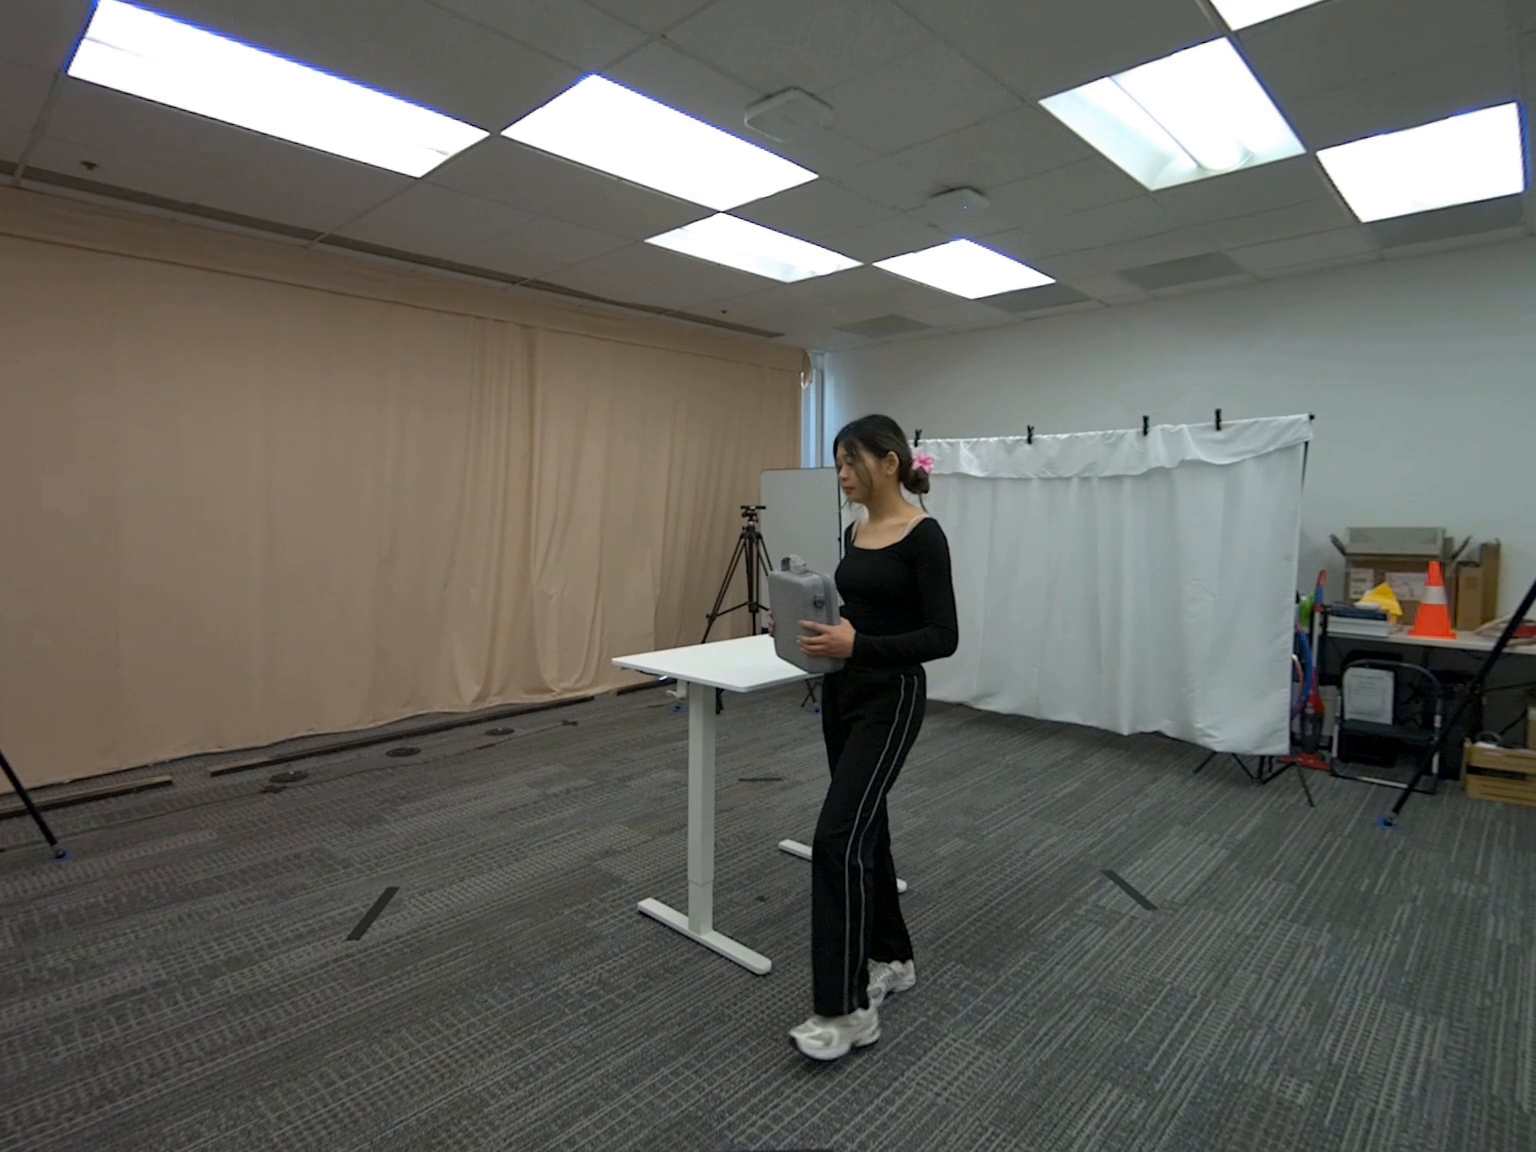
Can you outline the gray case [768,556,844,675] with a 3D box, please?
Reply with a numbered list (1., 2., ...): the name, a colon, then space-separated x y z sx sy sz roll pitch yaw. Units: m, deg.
1. gray case: 0.102 0.110 2.203 0.103 0.259 0.262 -10 7 -17
